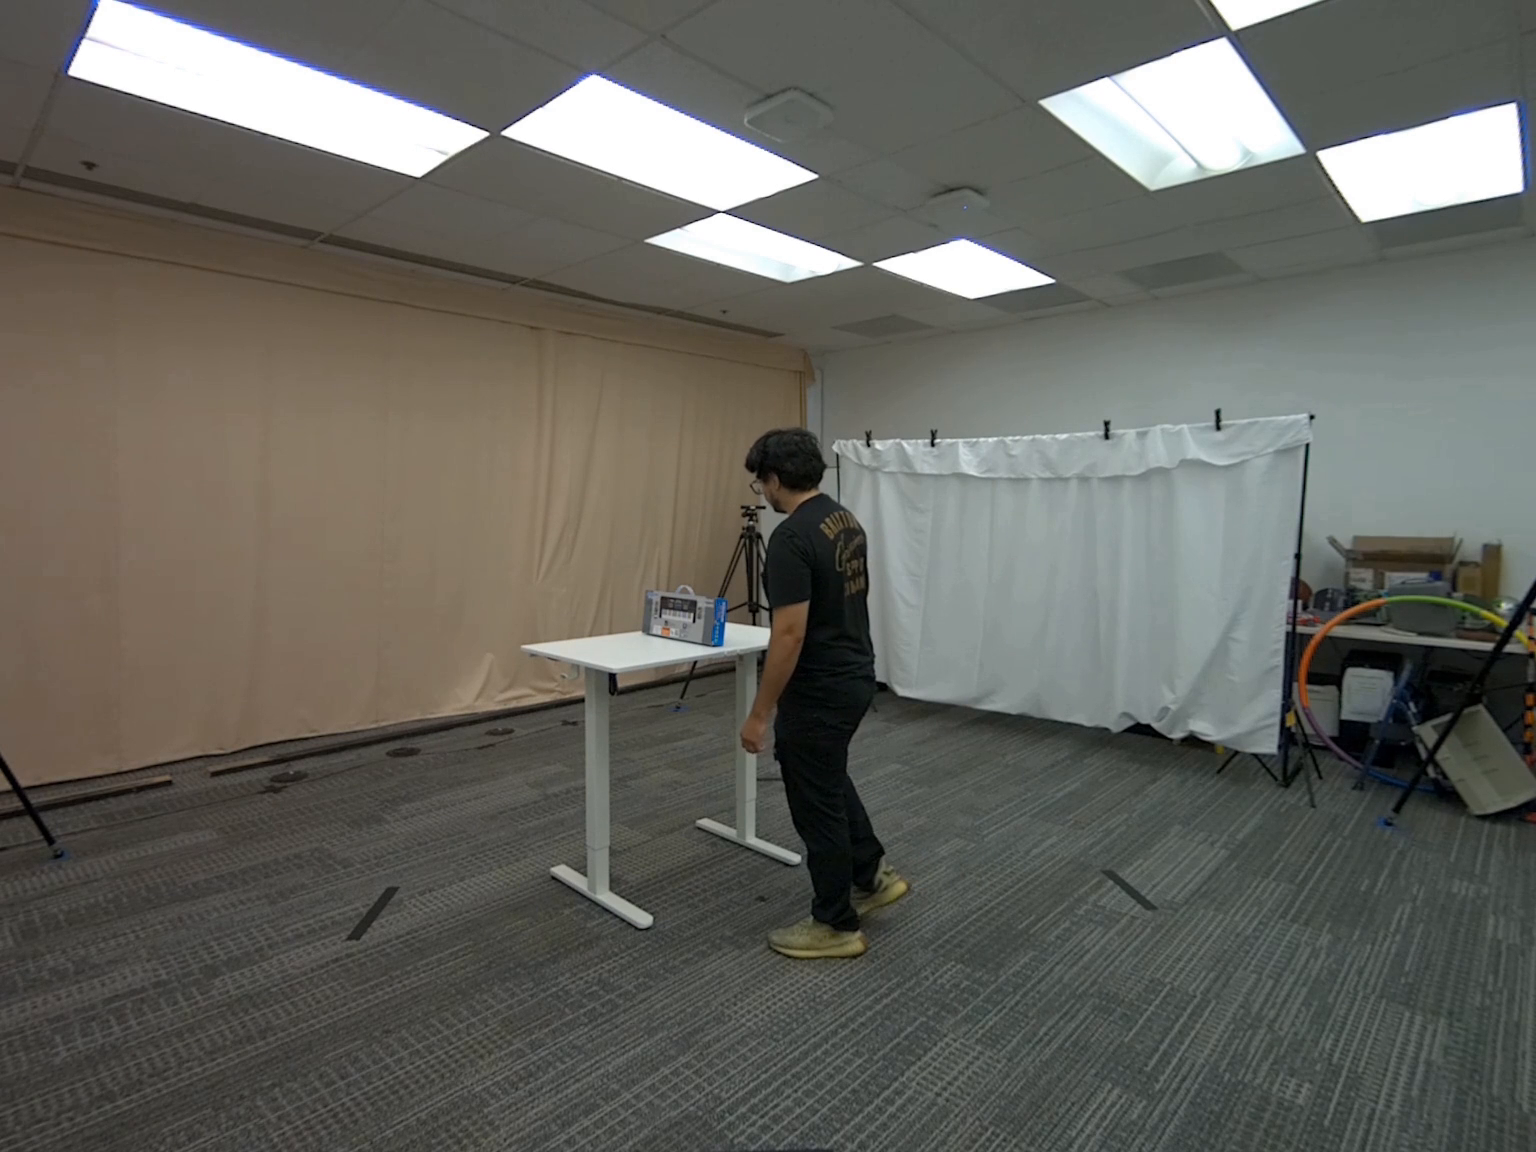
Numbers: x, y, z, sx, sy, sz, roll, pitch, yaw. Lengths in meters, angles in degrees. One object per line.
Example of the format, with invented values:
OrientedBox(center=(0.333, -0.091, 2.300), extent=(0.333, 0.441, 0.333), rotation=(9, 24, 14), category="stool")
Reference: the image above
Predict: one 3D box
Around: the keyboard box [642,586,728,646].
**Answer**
OrientedBox(center=(-0.323, 0.157, 3.216), extent=(0.057, 0.176, 0.451), rotation=(7, -2, -43), category="keyboard box")
